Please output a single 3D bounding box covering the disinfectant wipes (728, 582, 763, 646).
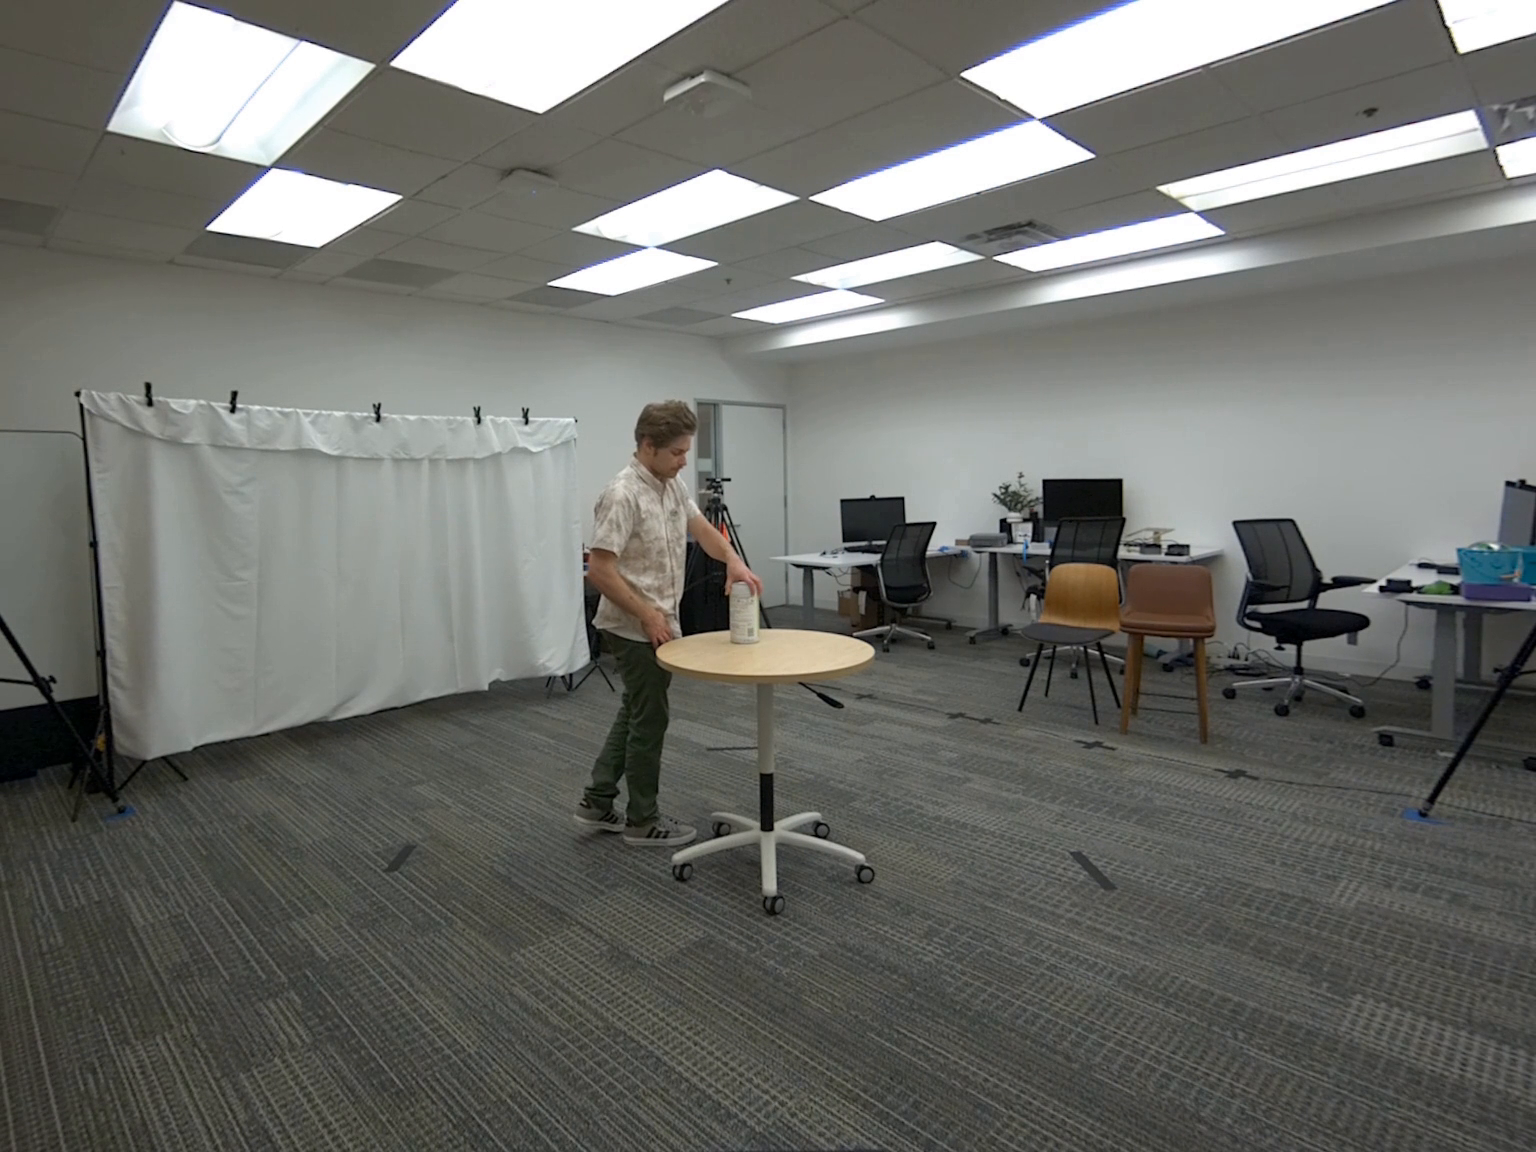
[{"bbox_3d":[-0.086,0.135,3.150,0.118,0.217,0.118,0,2,-2],"label":"disinfectant wipes"}]
